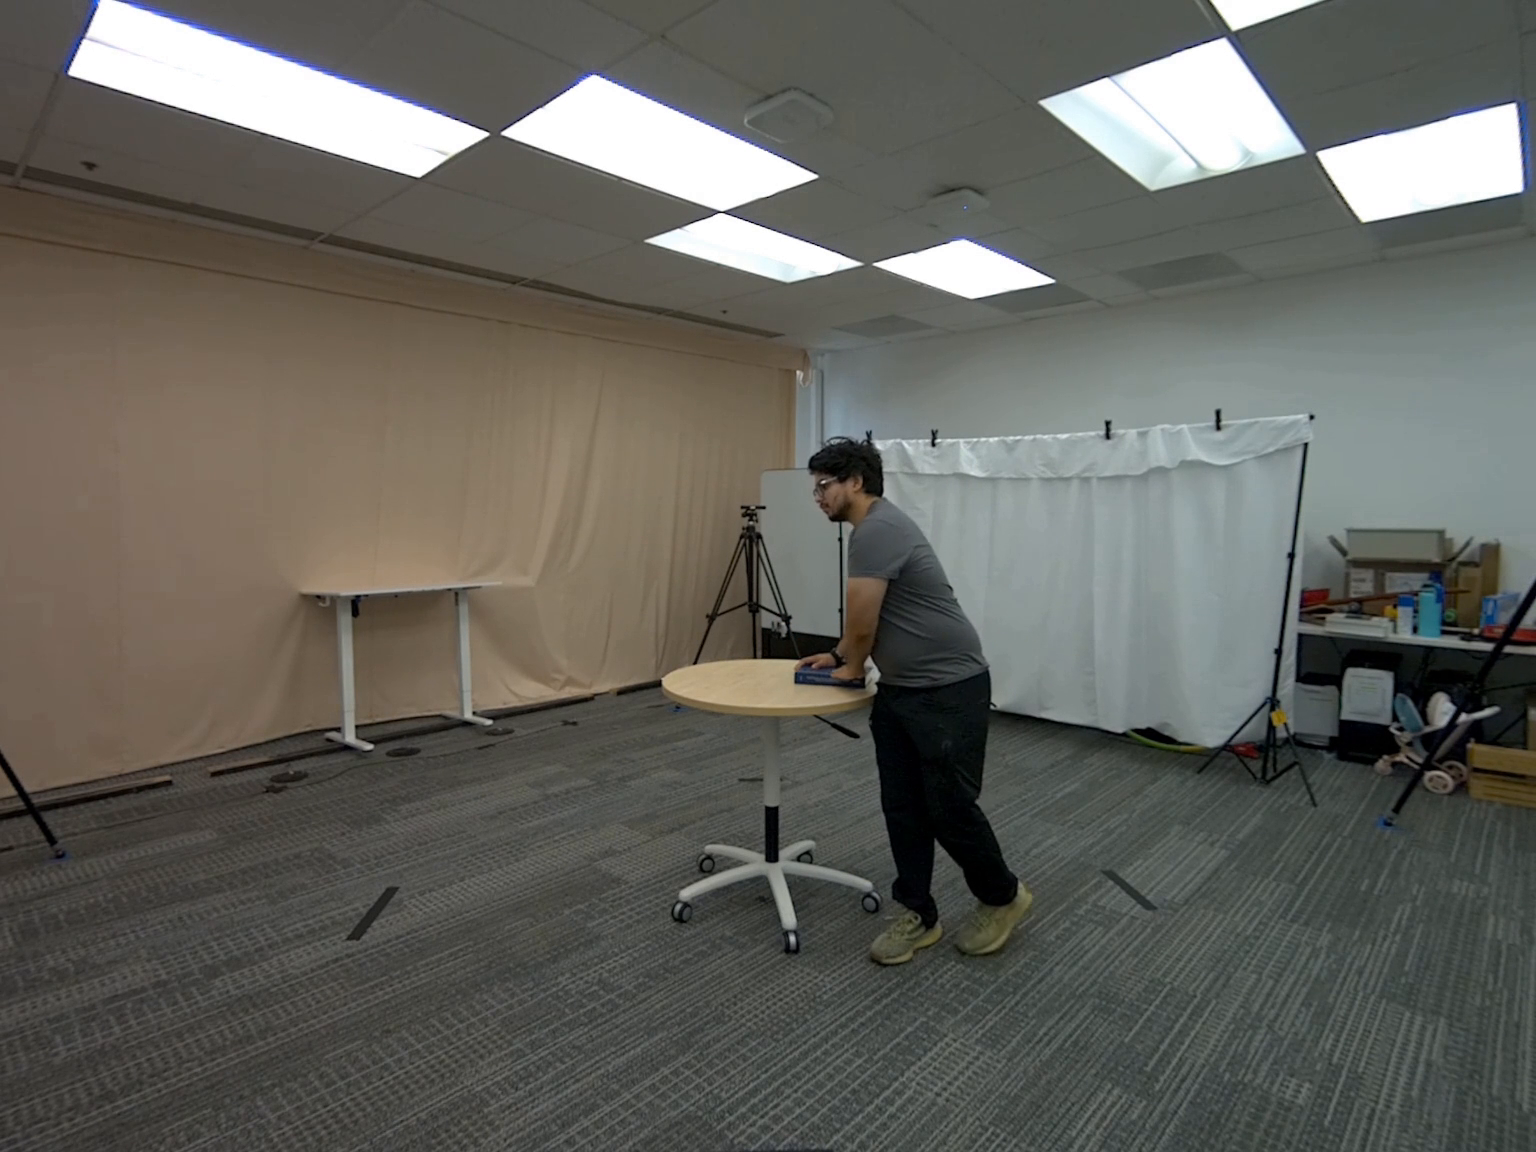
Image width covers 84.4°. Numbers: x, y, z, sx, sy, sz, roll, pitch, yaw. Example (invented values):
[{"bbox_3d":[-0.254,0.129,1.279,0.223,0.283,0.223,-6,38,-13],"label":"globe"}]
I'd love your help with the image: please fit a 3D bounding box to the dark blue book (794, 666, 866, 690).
[{"bbox_3d":[0.237,0.348,2.911,0.250,0.045,0.161,2,6,17],"label":"dark blue book"}]
